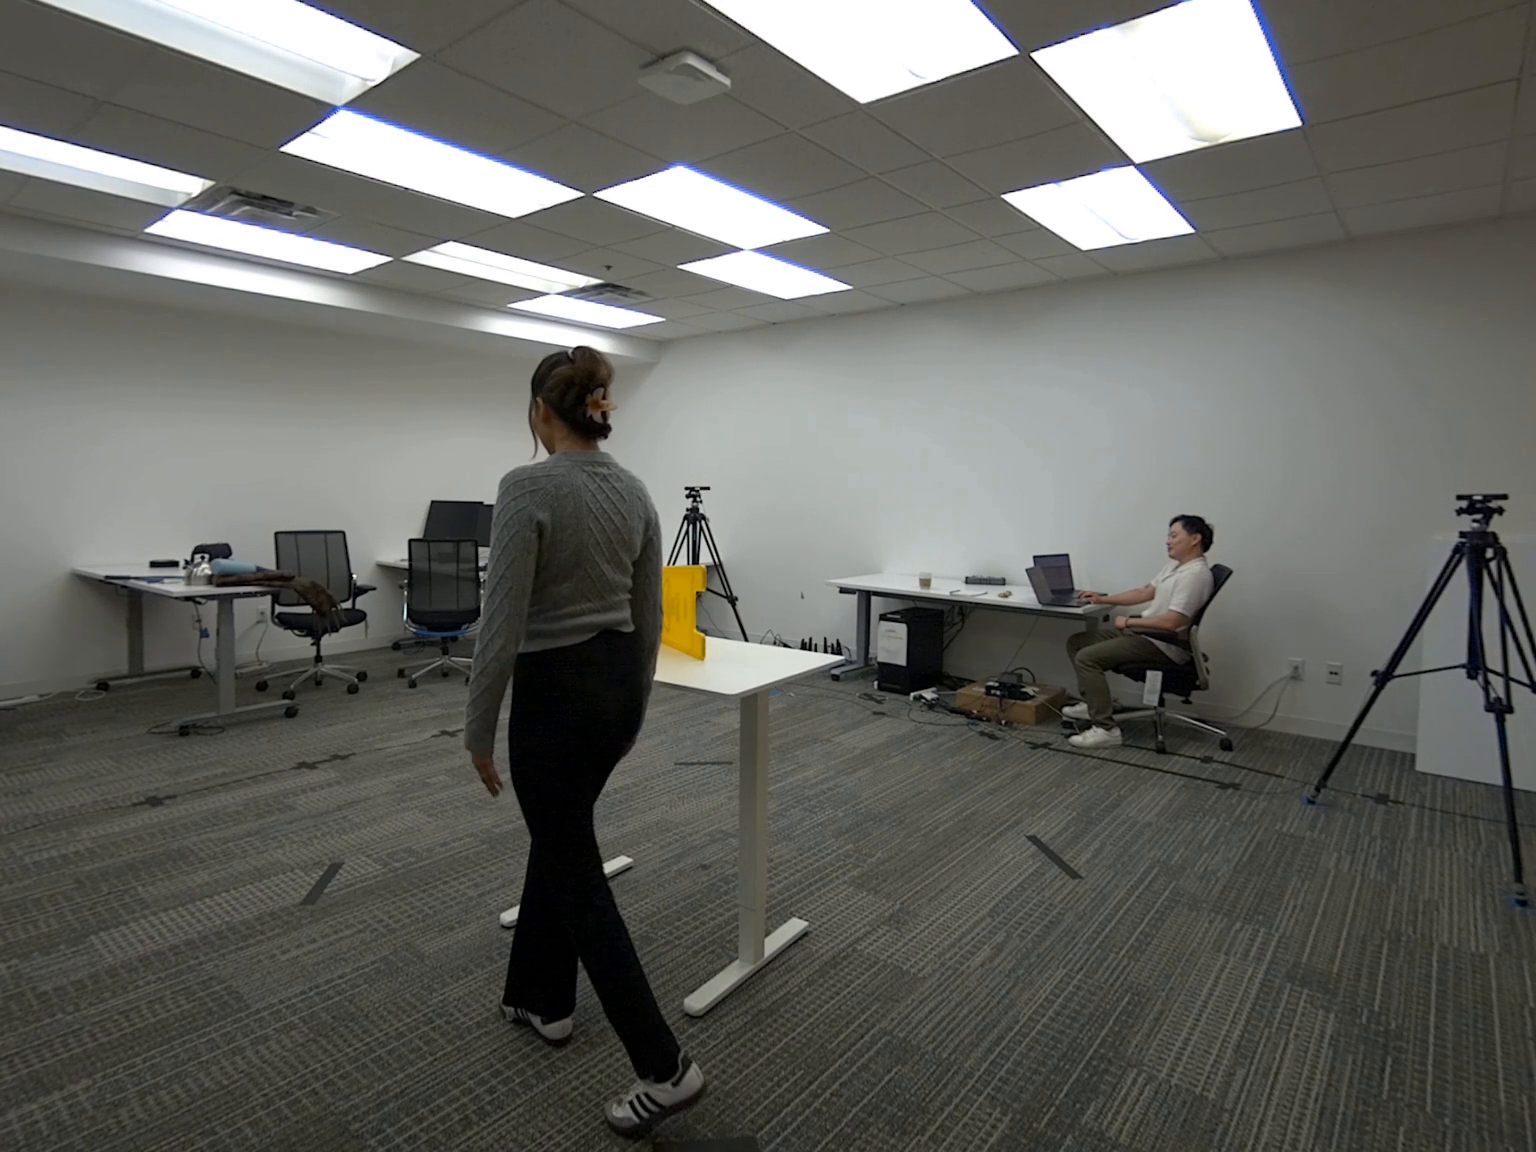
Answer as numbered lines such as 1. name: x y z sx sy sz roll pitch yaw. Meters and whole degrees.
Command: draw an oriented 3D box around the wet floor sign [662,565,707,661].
1. wet floor sign: -0.428 0.092 2.774 0.285 0.282 0.658 0 3 -17
